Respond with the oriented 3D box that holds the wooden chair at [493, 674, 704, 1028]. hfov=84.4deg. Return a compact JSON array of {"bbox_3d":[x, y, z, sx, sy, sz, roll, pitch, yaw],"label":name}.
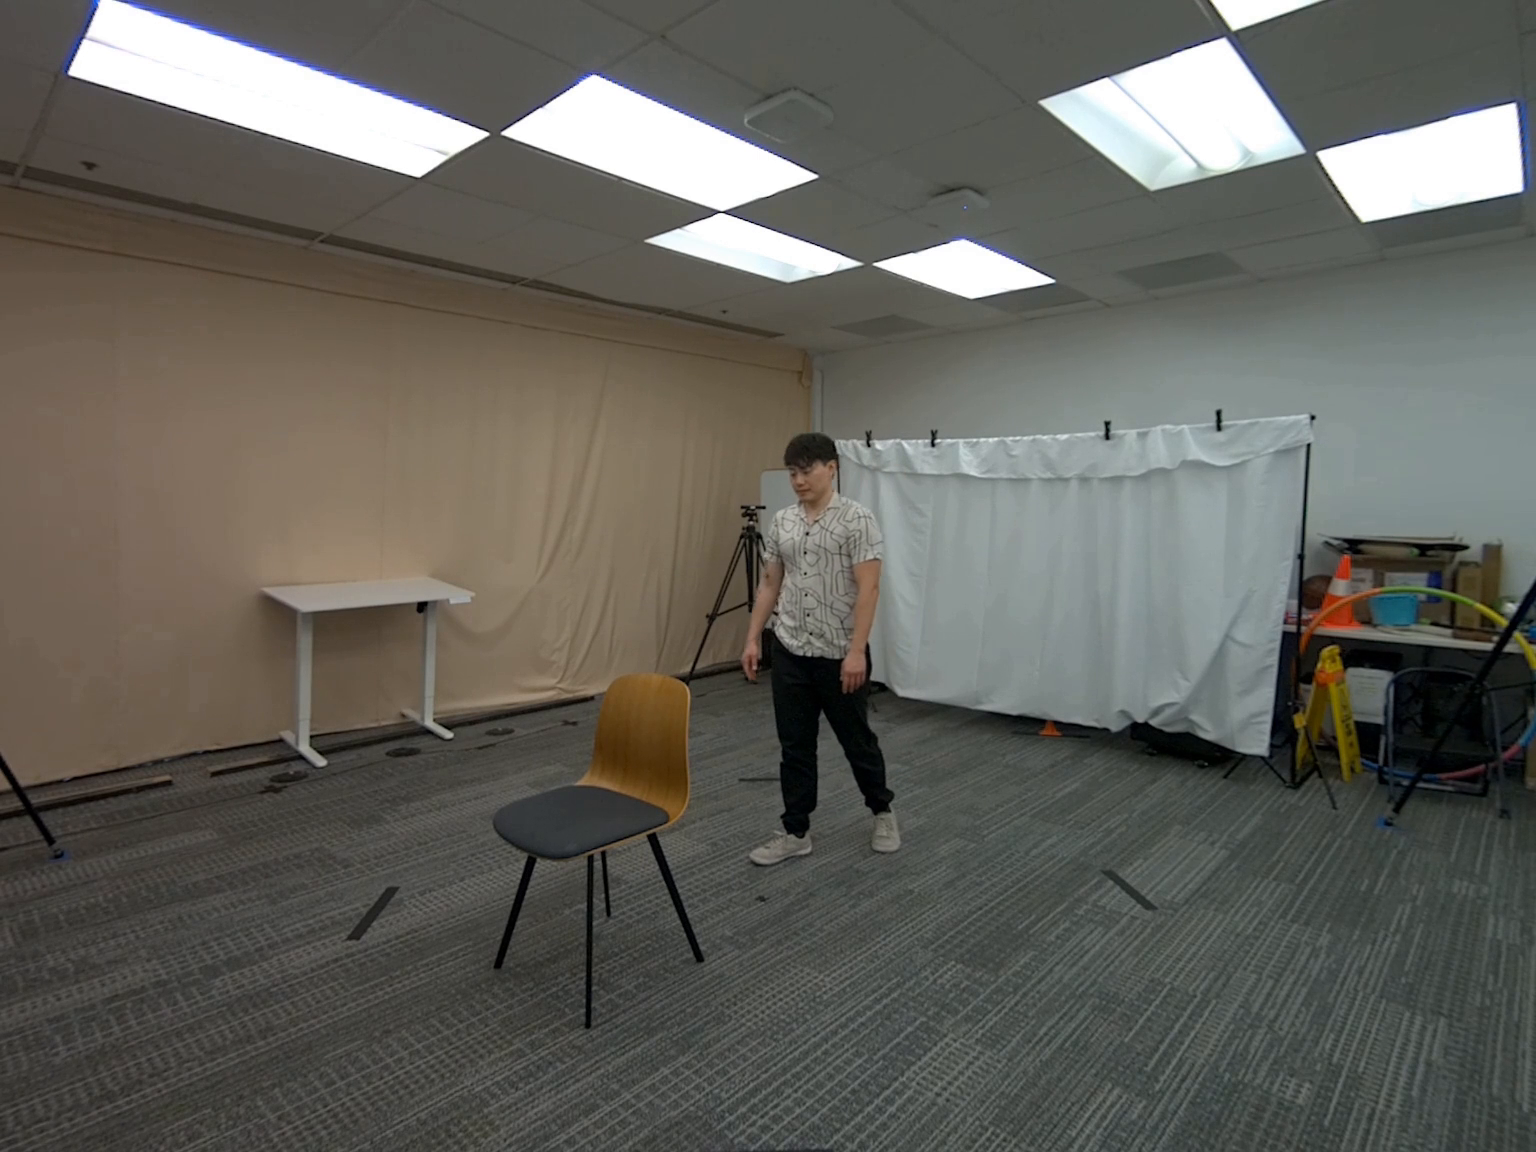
[{"bbox_3d":[-0.514,0.758,2.523,0.494,0.877,0.506,3,0,41],"label":"wooden chair"}]
